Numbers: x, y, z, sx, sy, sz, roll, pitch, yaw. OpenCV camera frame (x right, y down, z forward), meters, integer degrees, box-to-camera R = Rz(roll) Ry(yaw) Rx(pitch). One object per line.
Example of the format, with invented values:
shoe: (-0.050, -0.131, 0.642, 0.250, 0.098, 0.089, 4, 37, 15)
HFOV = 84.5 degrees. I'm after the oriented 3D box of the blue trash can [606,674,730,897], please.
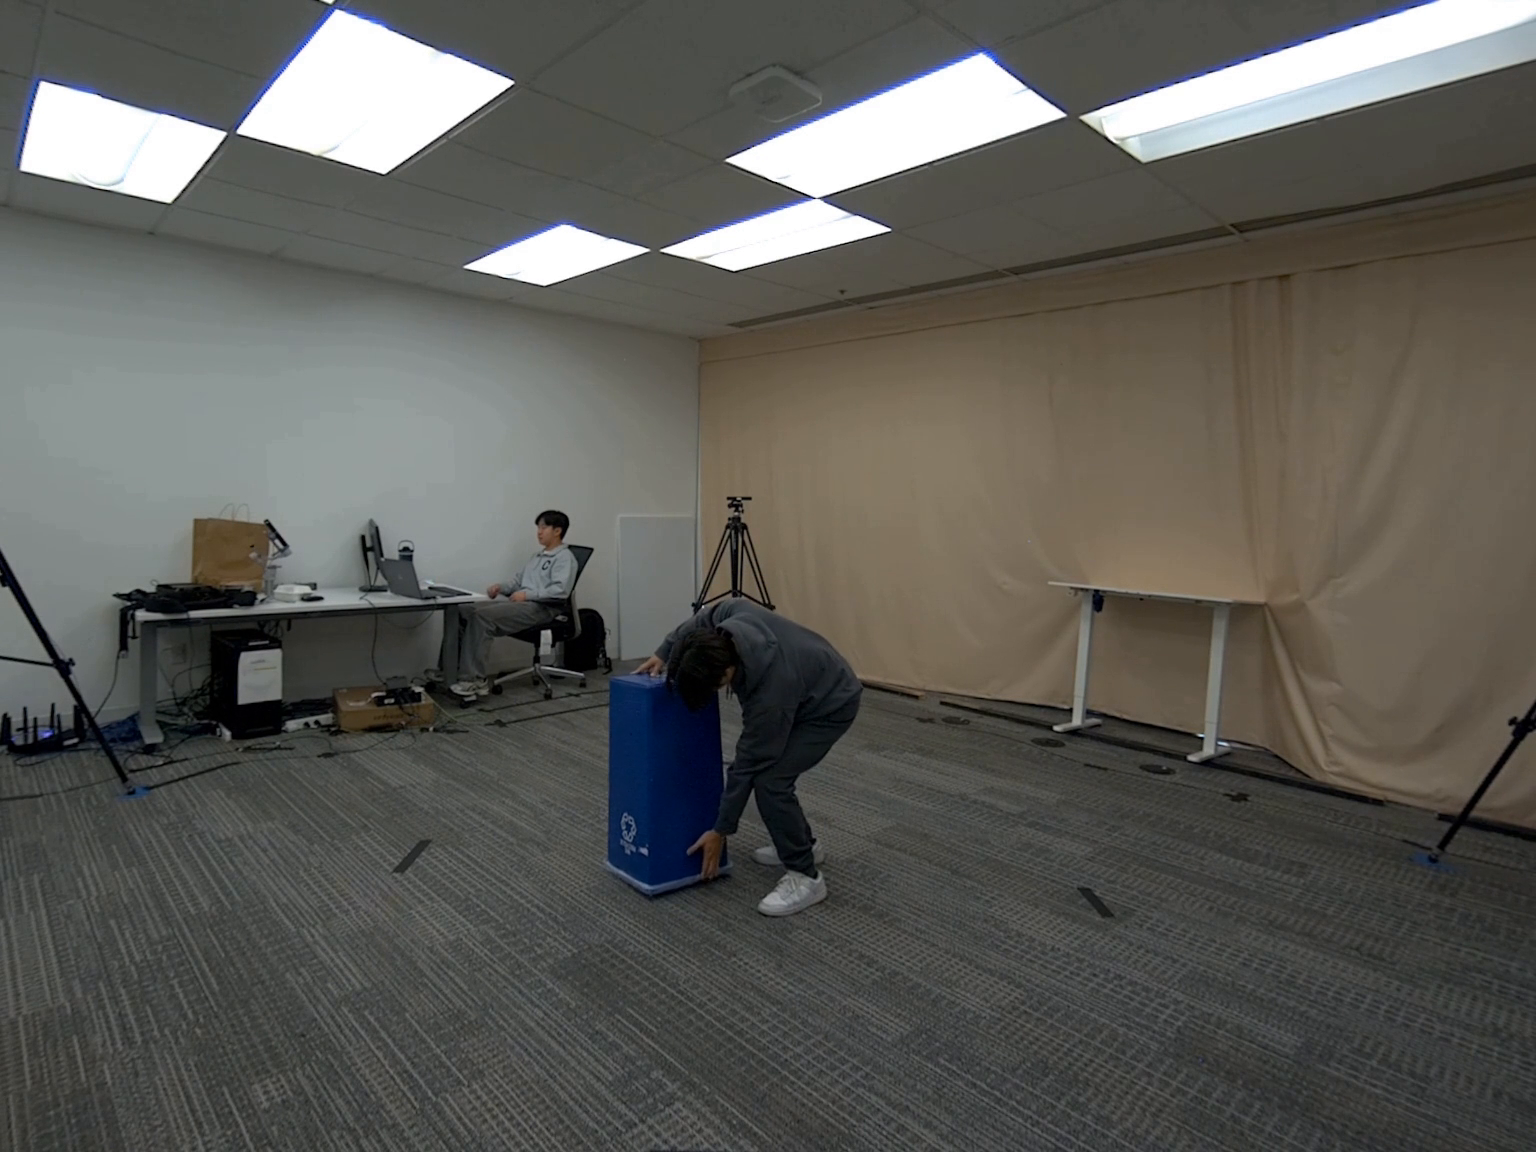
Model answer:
blue trash can: (-0.386, 0.737, 3.136, 0.370, 0.714, 0.382, -2, 0, -36)
